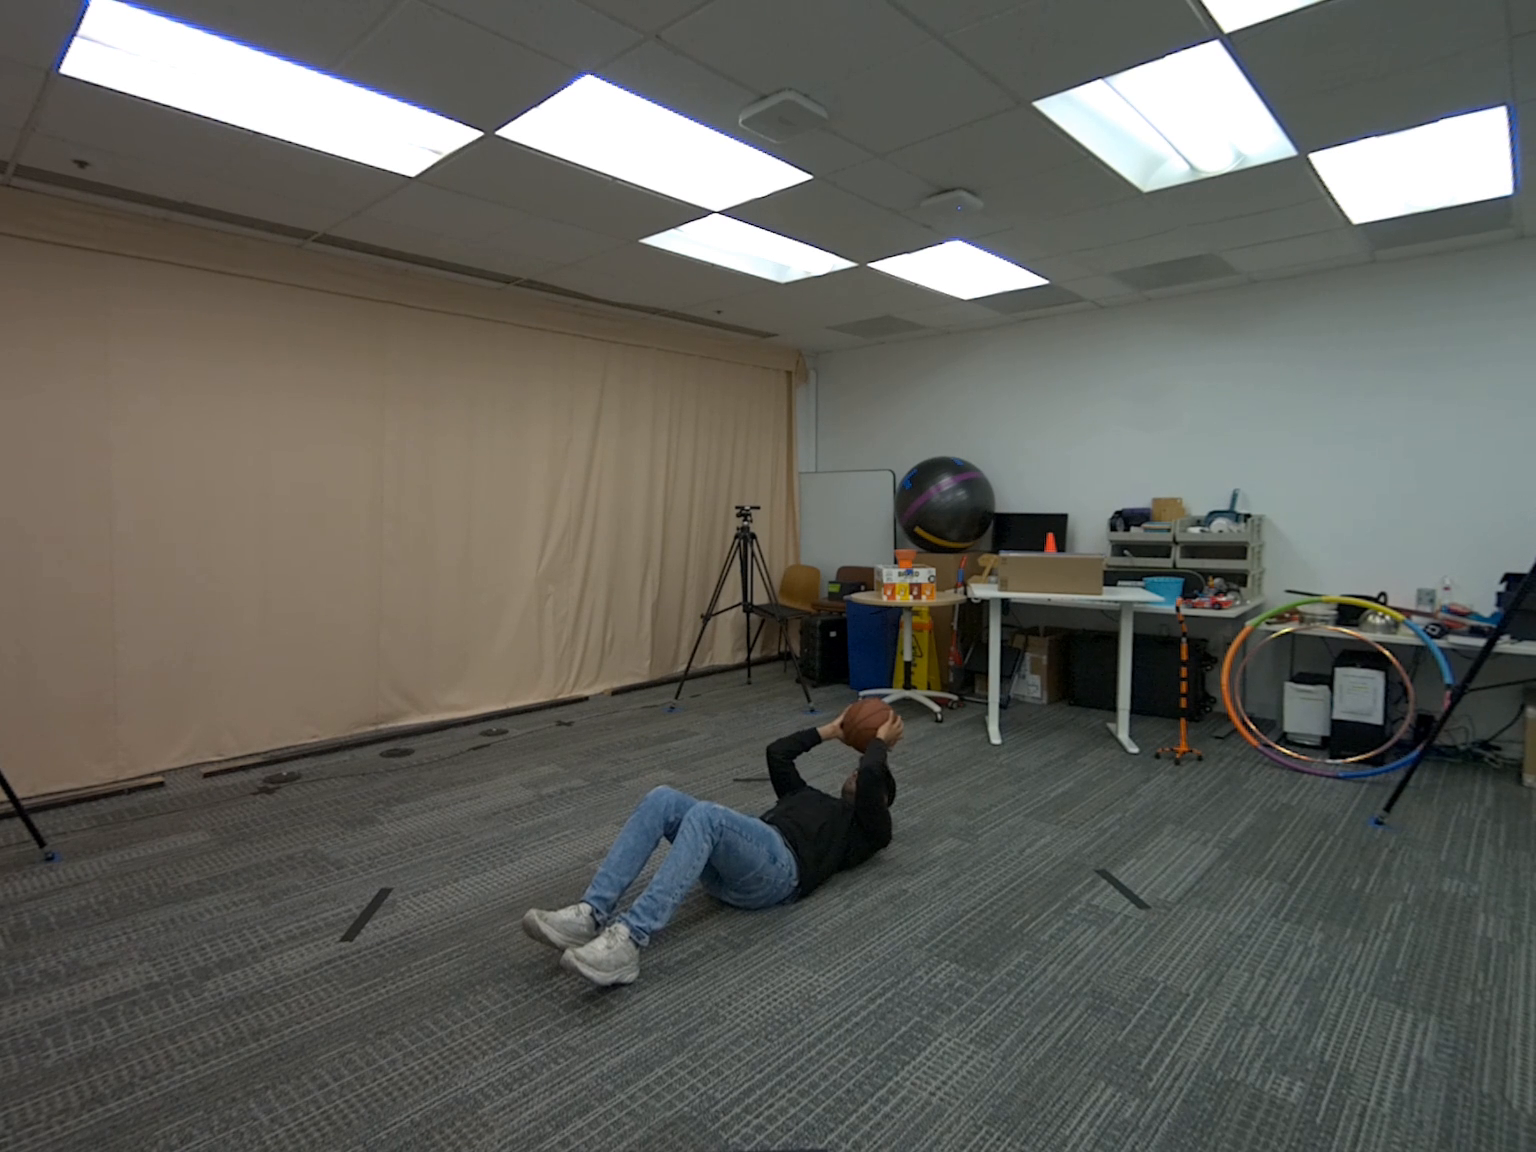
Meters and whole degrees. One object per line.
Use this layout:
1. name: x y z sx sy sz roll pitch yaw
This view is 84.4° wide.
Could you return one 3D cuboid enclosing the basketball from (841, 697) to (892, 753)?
1. basketball: 0.431 0.637 3.554 0.236 0.235 0.237 0 4 -2
